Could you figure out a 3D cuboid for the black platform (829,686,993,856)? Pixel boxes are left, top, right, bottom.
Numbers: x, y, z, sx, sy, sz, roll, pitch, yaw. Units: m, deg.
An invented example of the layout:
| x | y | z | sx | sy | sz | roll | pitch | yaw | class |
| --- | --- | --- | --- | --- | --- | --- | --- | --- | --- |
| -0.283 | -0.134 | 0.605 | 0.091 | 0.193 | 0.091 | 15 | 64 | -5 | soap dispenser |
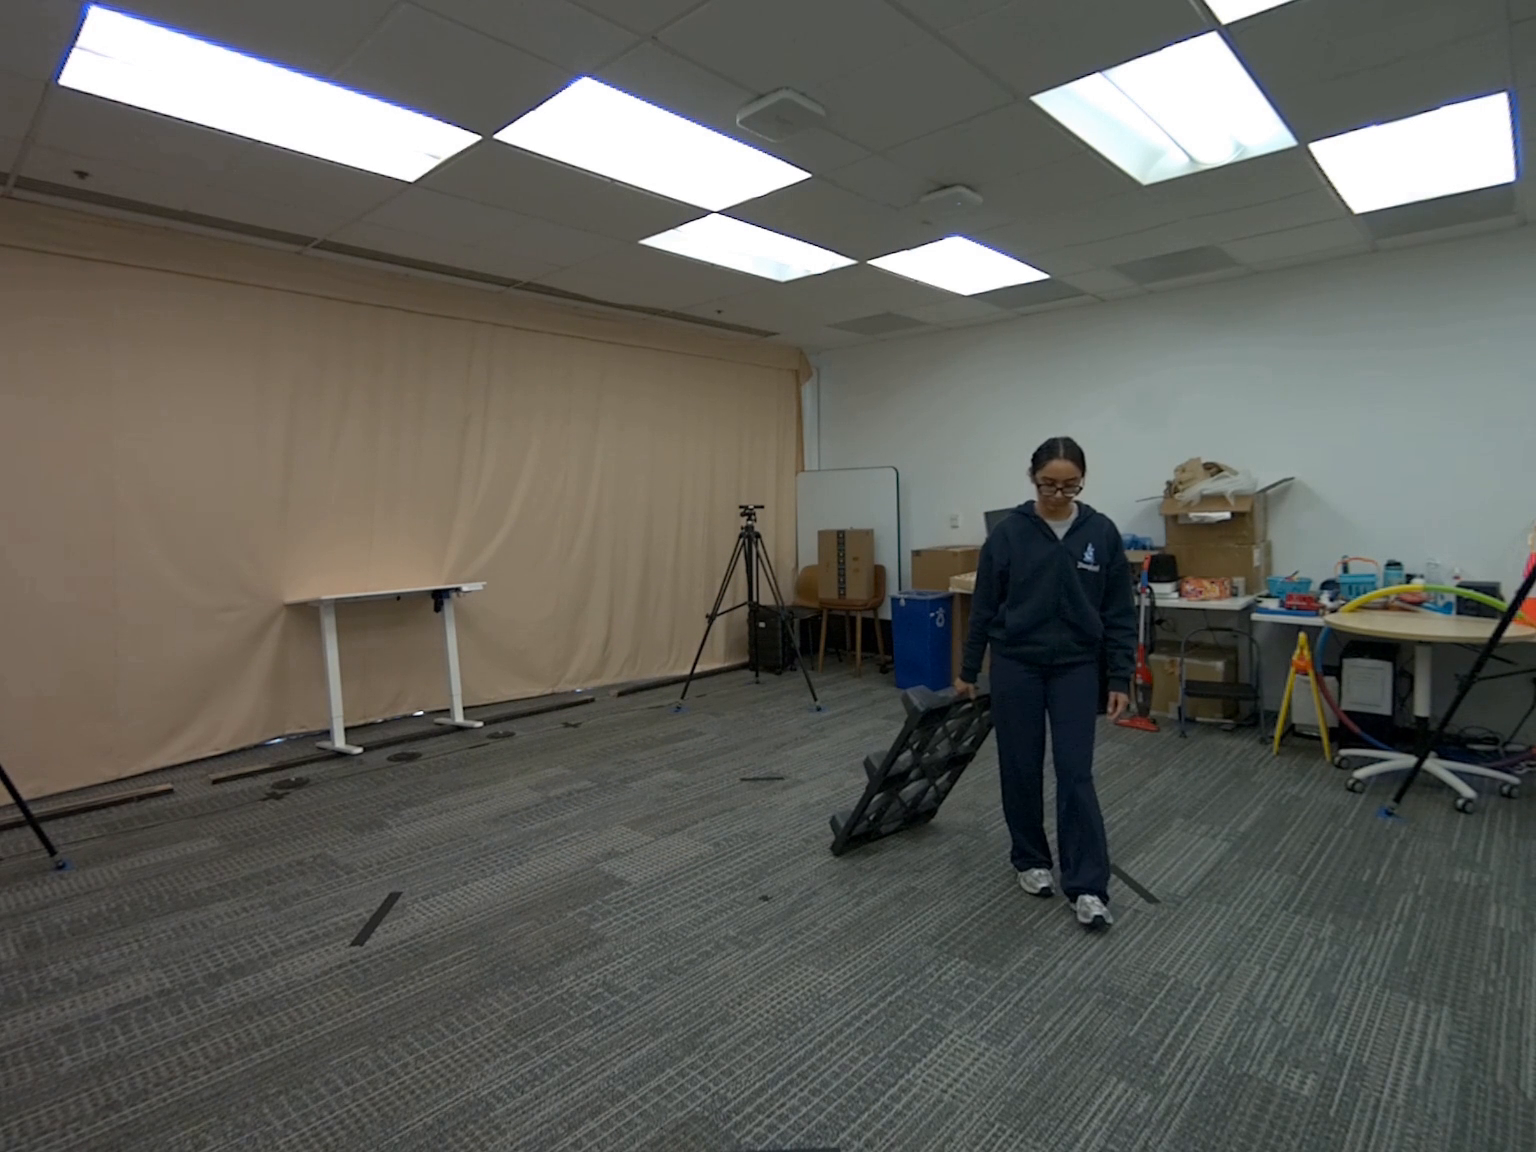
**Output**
| x | y | z | sx | sy | sz | roll | pitch | yaw | class |
| --- | --- | --- | --- | --- | --- | --- | --- | --- | --- |
| 0.592 | 0.735 | 3.333 | 0.587 | 0.802 | 0.148 | -2 | 37 | -38 | black platform |
